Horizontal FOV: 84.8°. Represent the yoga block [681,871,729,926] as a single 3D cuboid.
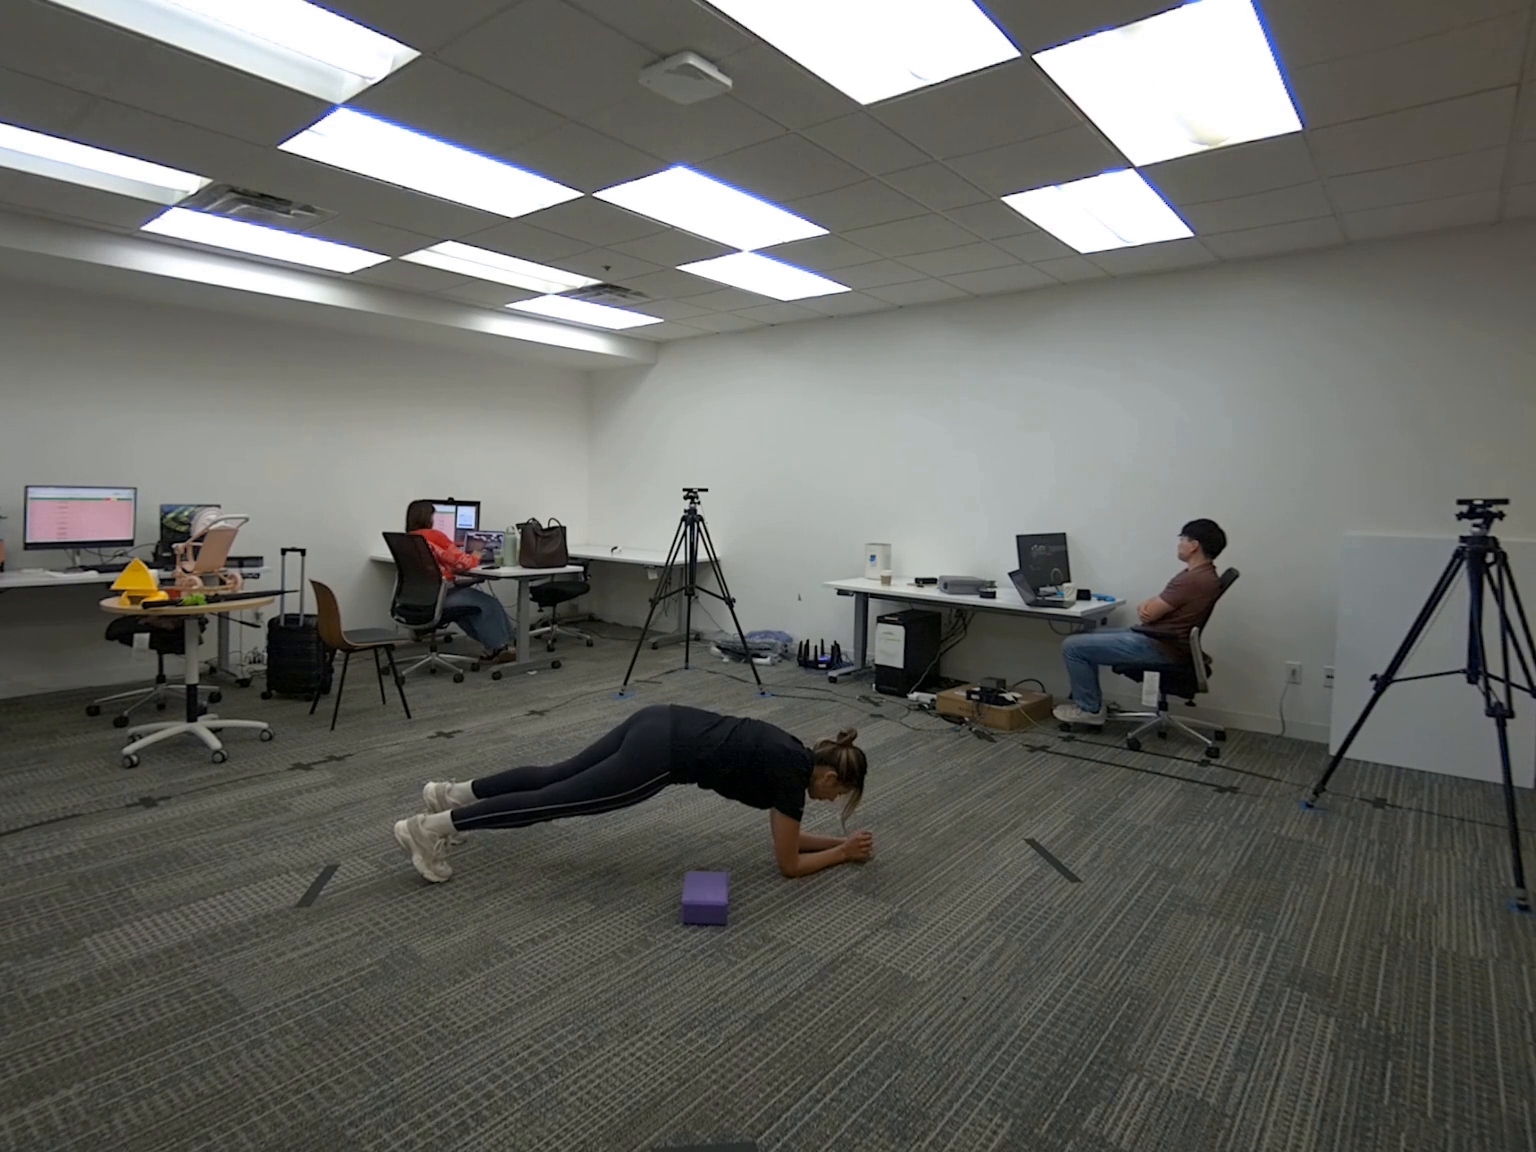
[{"bbox_3d":[-0.217,1.056,2.809,0.149,0.076,0.229,1,3,-1],"label":"yoga block"}]
